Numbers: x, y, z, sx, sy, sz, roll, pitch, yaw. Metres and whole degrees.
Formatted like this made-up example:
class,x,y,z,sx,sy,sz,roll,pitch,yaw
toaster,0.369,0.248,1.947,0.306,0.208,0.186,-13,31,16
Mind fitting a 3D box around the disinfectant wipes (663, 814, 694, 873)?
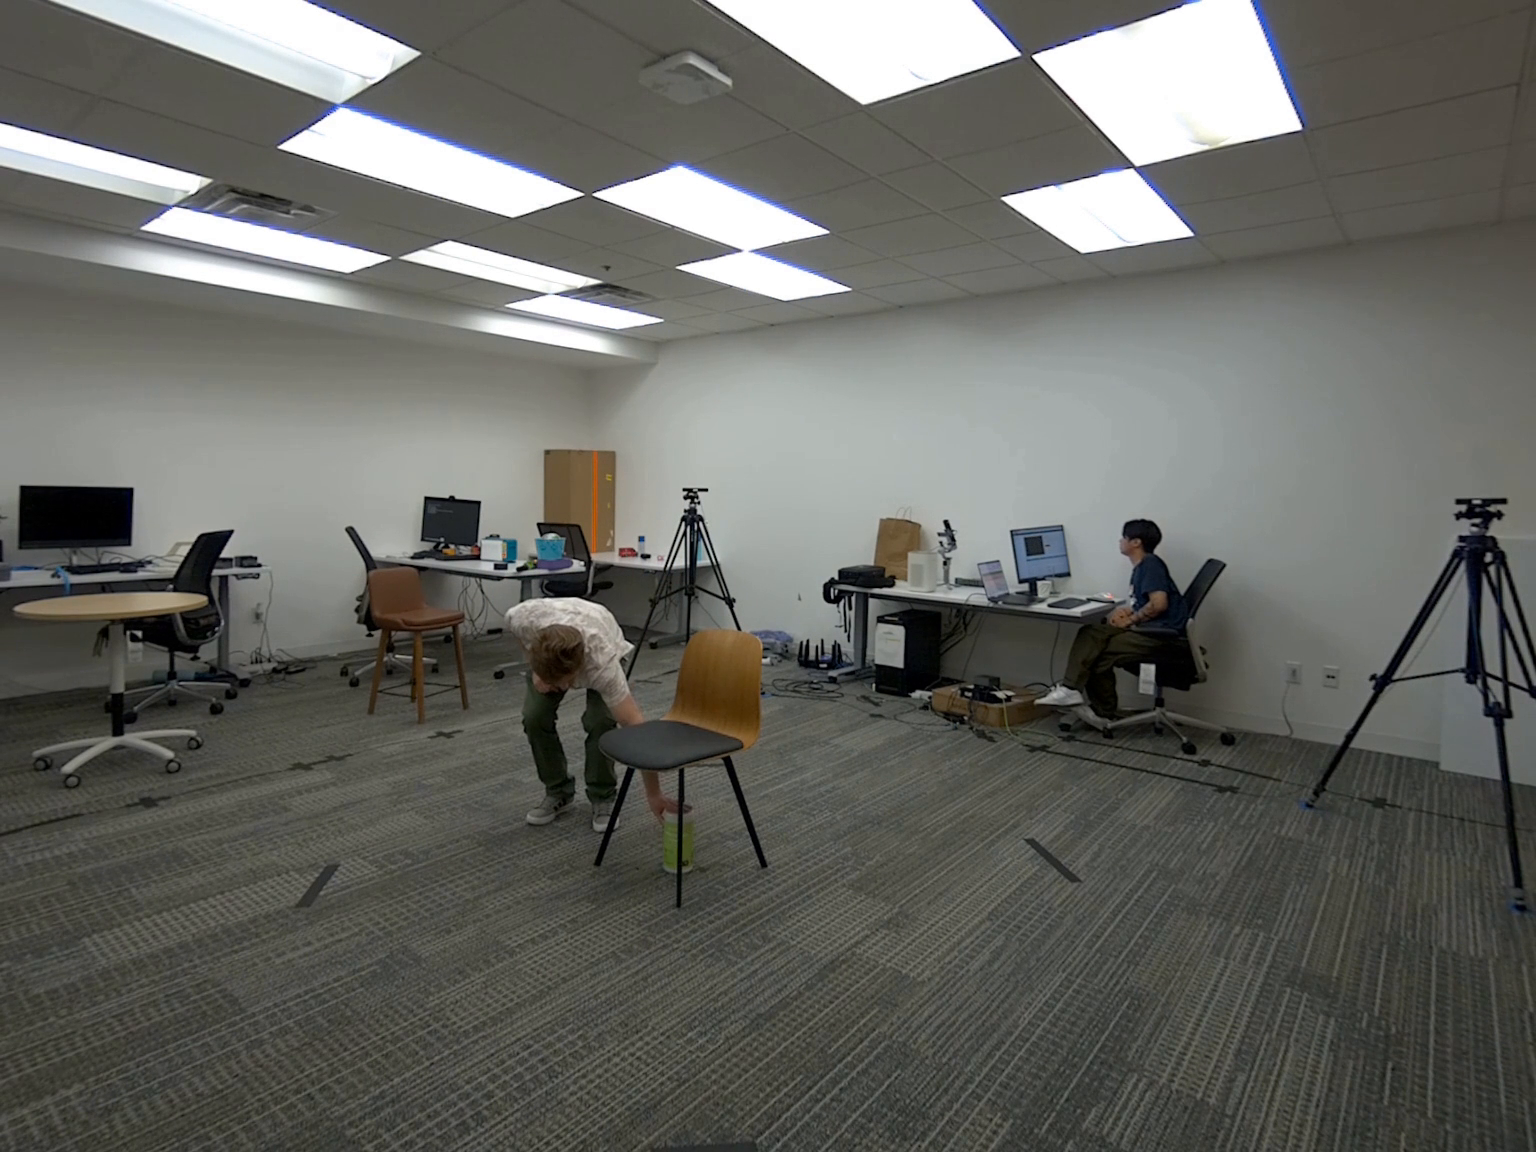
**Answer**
class,x,y,z,sx,sy,sz,roll,pitch,yaw
disinfectant wipes,-0.345,0.971,3.112,0.117,0.217,0.118,3,4,-2
